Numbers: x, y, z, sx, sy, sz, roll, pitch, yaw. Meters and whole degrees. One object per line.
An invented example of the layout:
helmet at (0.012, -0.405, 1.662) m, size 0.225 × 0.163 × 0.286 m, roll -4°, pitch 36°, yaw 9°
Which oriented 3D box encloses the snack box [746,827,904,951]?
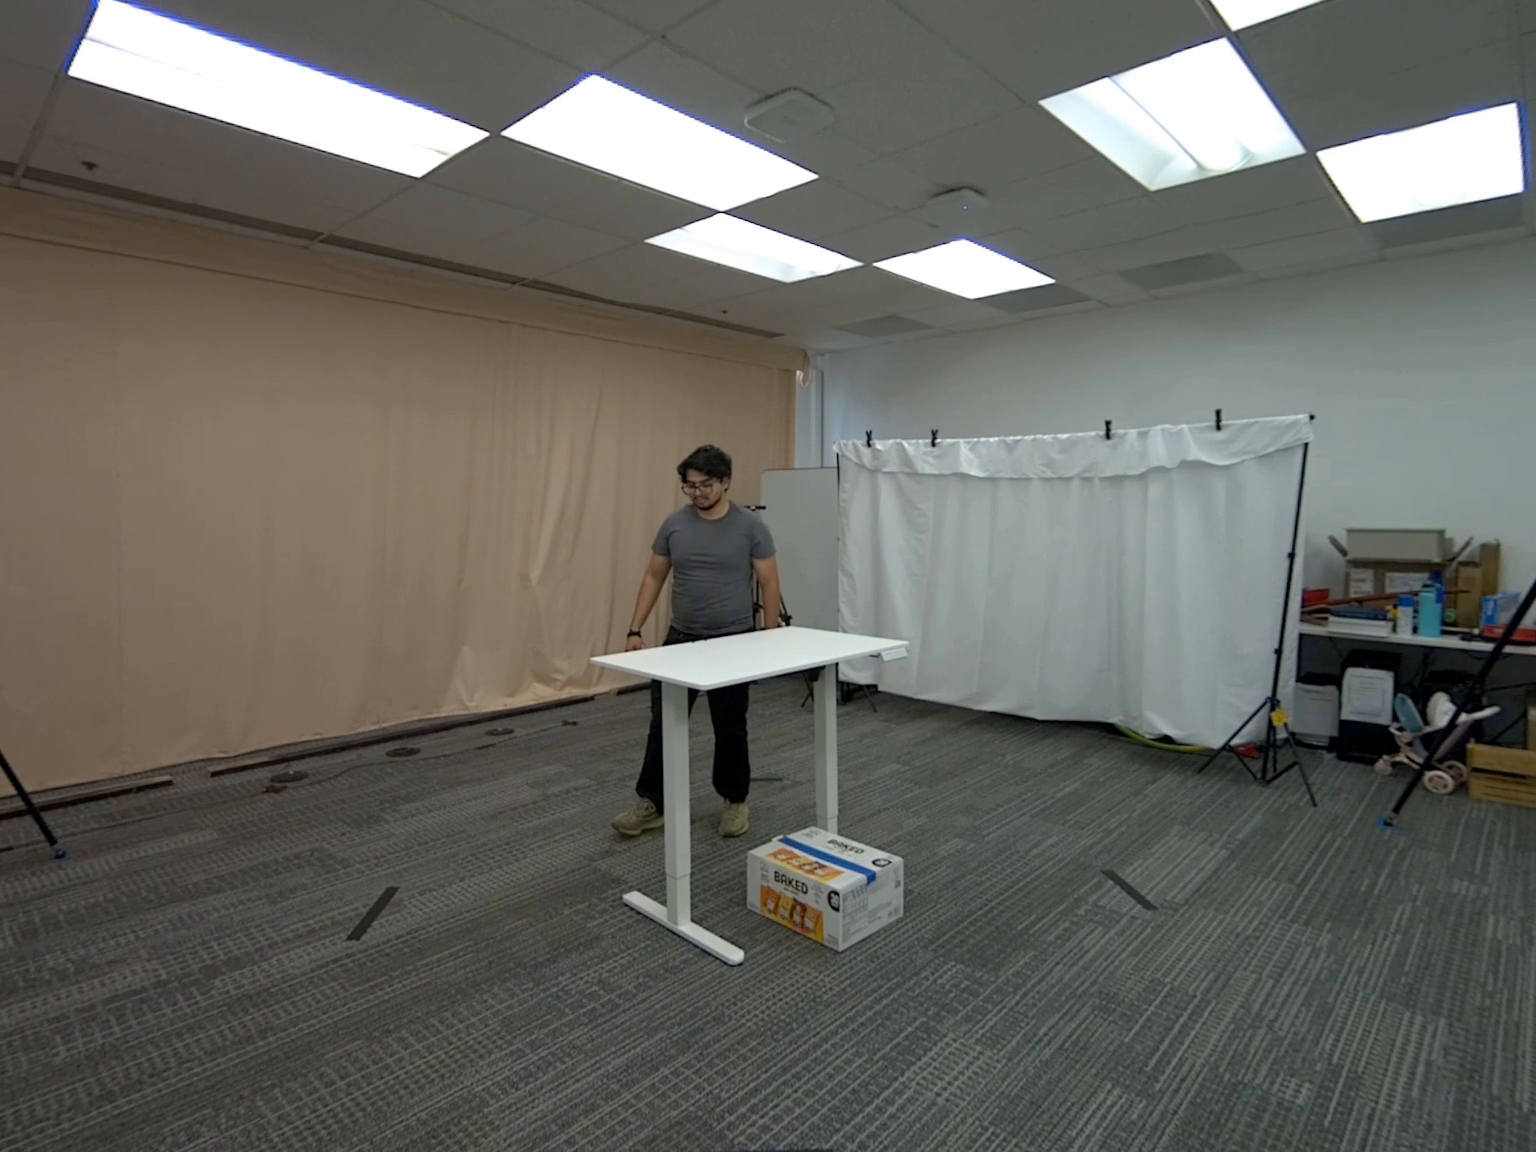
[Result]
snack box at (0.198, 1.053, 2.868) m, size 0.419 × 0.205 × 0.330 m, roll 4°, pitch 6°, yaw 45°
